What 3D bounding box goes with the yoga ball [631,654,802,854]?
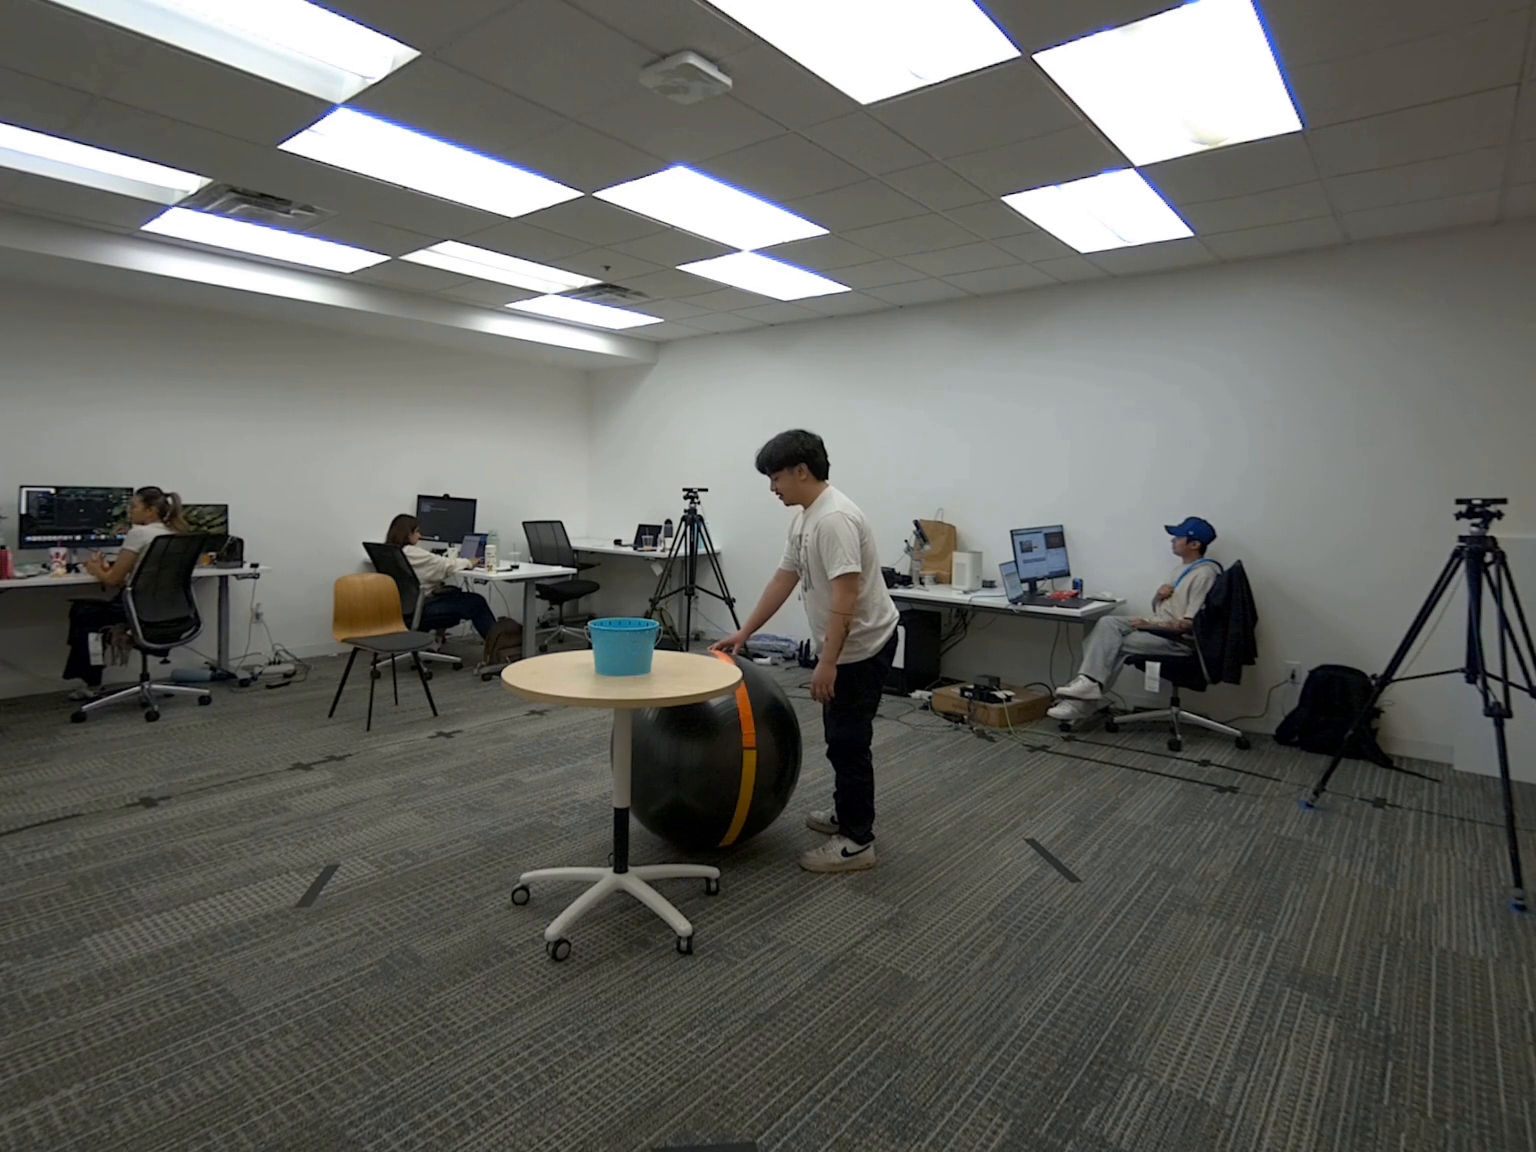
[{"bbox_3d":[-0.252,0.678,3.360,0.757,0.756,0.761,1,4,-2],"label":"yoga ball"}]
